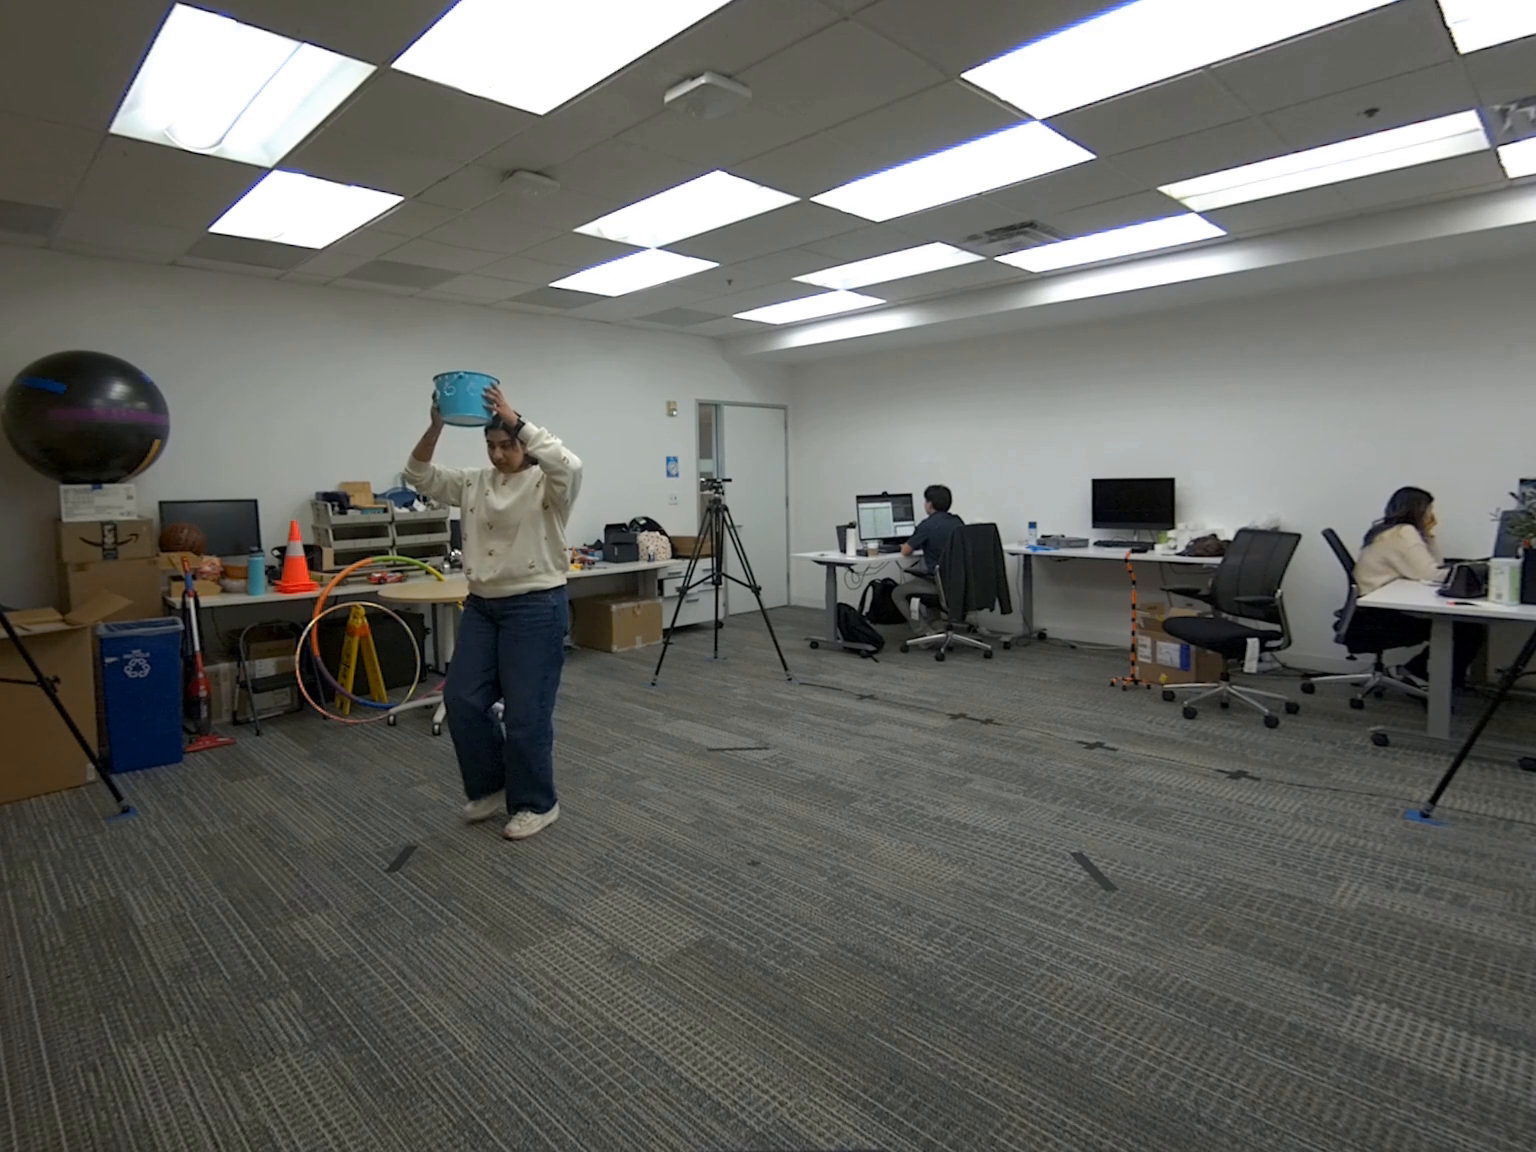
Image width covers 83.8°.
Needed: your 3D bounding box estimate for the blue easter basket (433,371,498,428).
[{"bbox_3d":[-1.115,-0.639,3.108,0.243,0.156,0.243,-2,-4,-2],"label":"blue easter basket"}]
